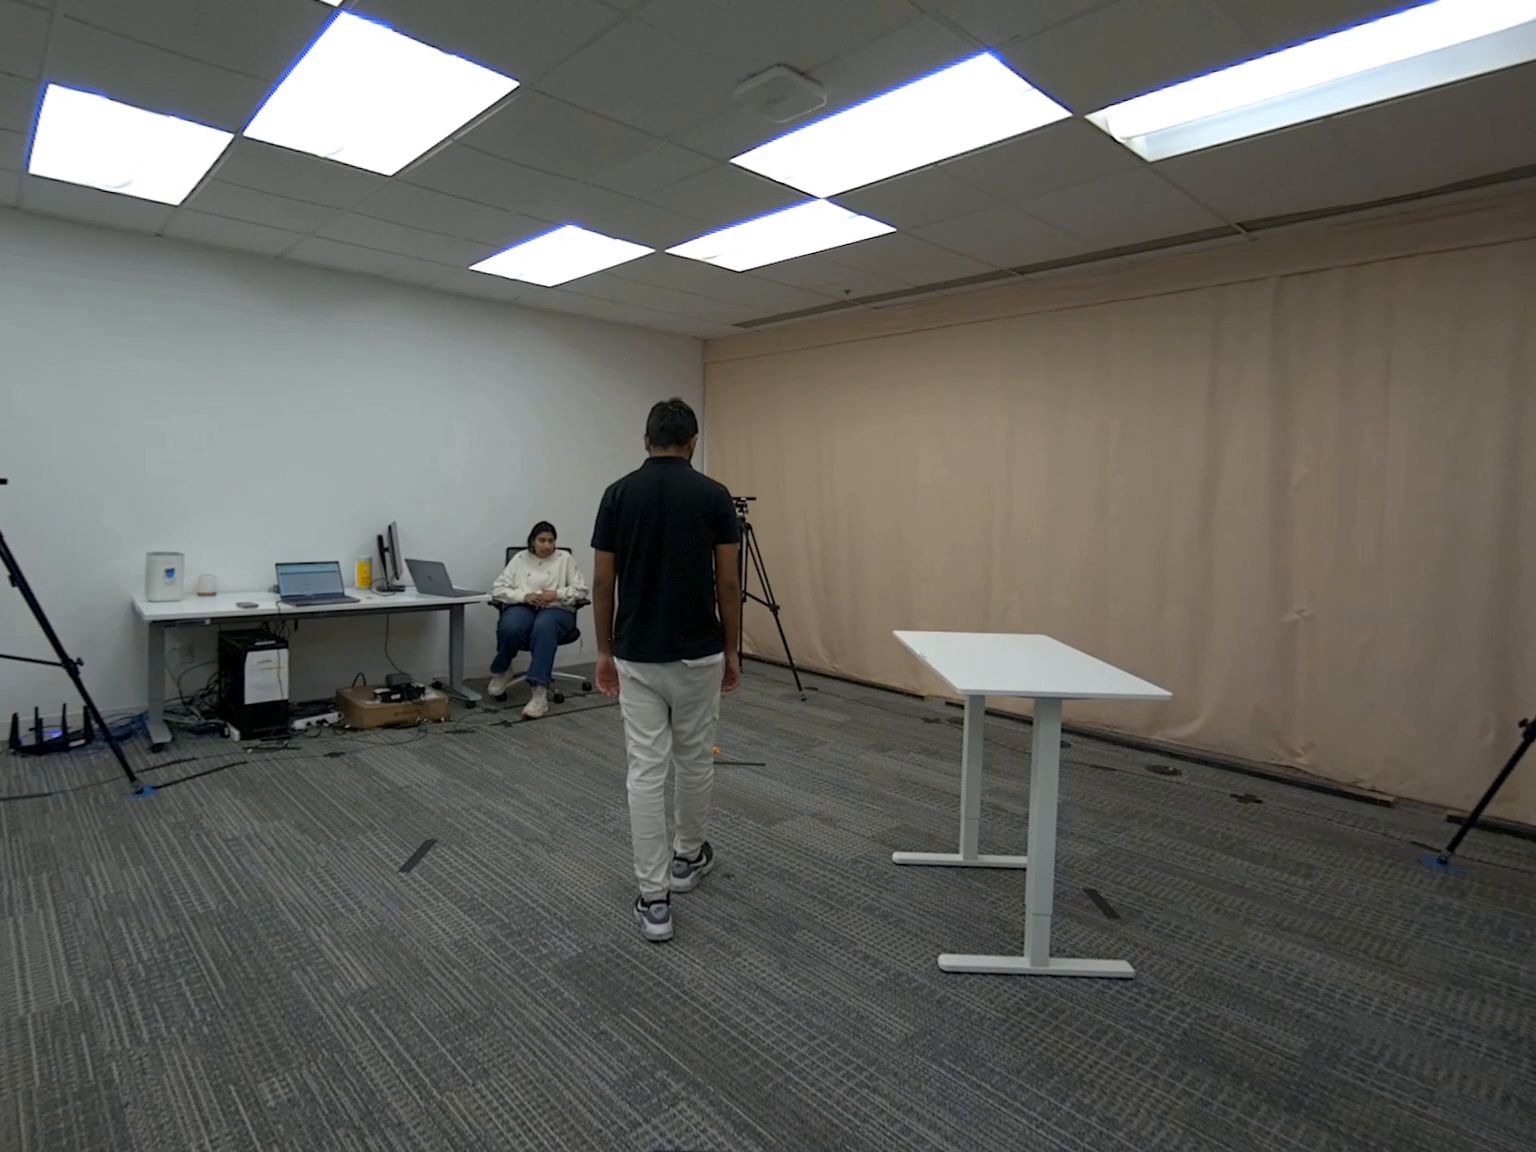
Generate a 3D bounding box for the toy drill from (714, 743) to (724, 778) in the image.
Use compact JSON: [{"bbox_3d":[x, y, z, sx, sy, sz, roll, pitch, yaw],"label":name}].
[{"bbox_3d":[-0.305,0.929,4.339,0.060,0.146,0.174,-3,4,-36],"label":"toy drill"}]
